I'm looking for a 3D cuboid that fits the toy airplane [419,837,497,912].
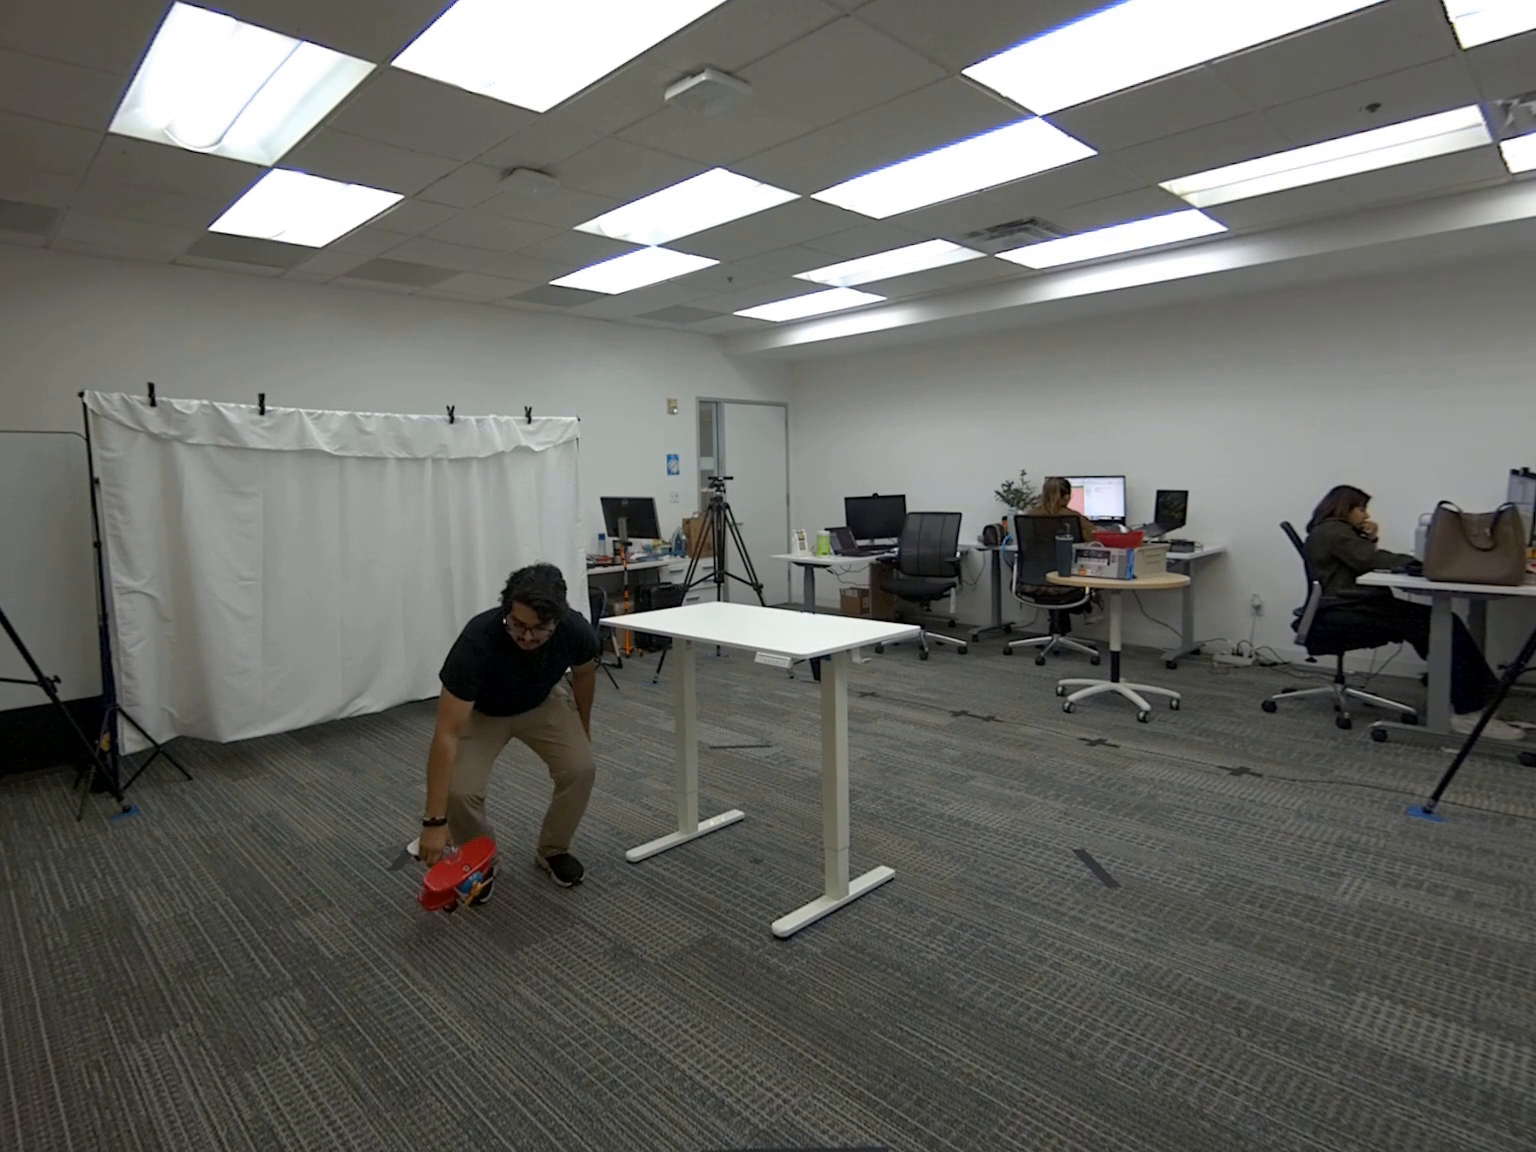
[{"bbox_3d":[-0.977,0.894,2.597,0.255,0.156,0.256,30,32,-12],"label":"toy airplane"}]
